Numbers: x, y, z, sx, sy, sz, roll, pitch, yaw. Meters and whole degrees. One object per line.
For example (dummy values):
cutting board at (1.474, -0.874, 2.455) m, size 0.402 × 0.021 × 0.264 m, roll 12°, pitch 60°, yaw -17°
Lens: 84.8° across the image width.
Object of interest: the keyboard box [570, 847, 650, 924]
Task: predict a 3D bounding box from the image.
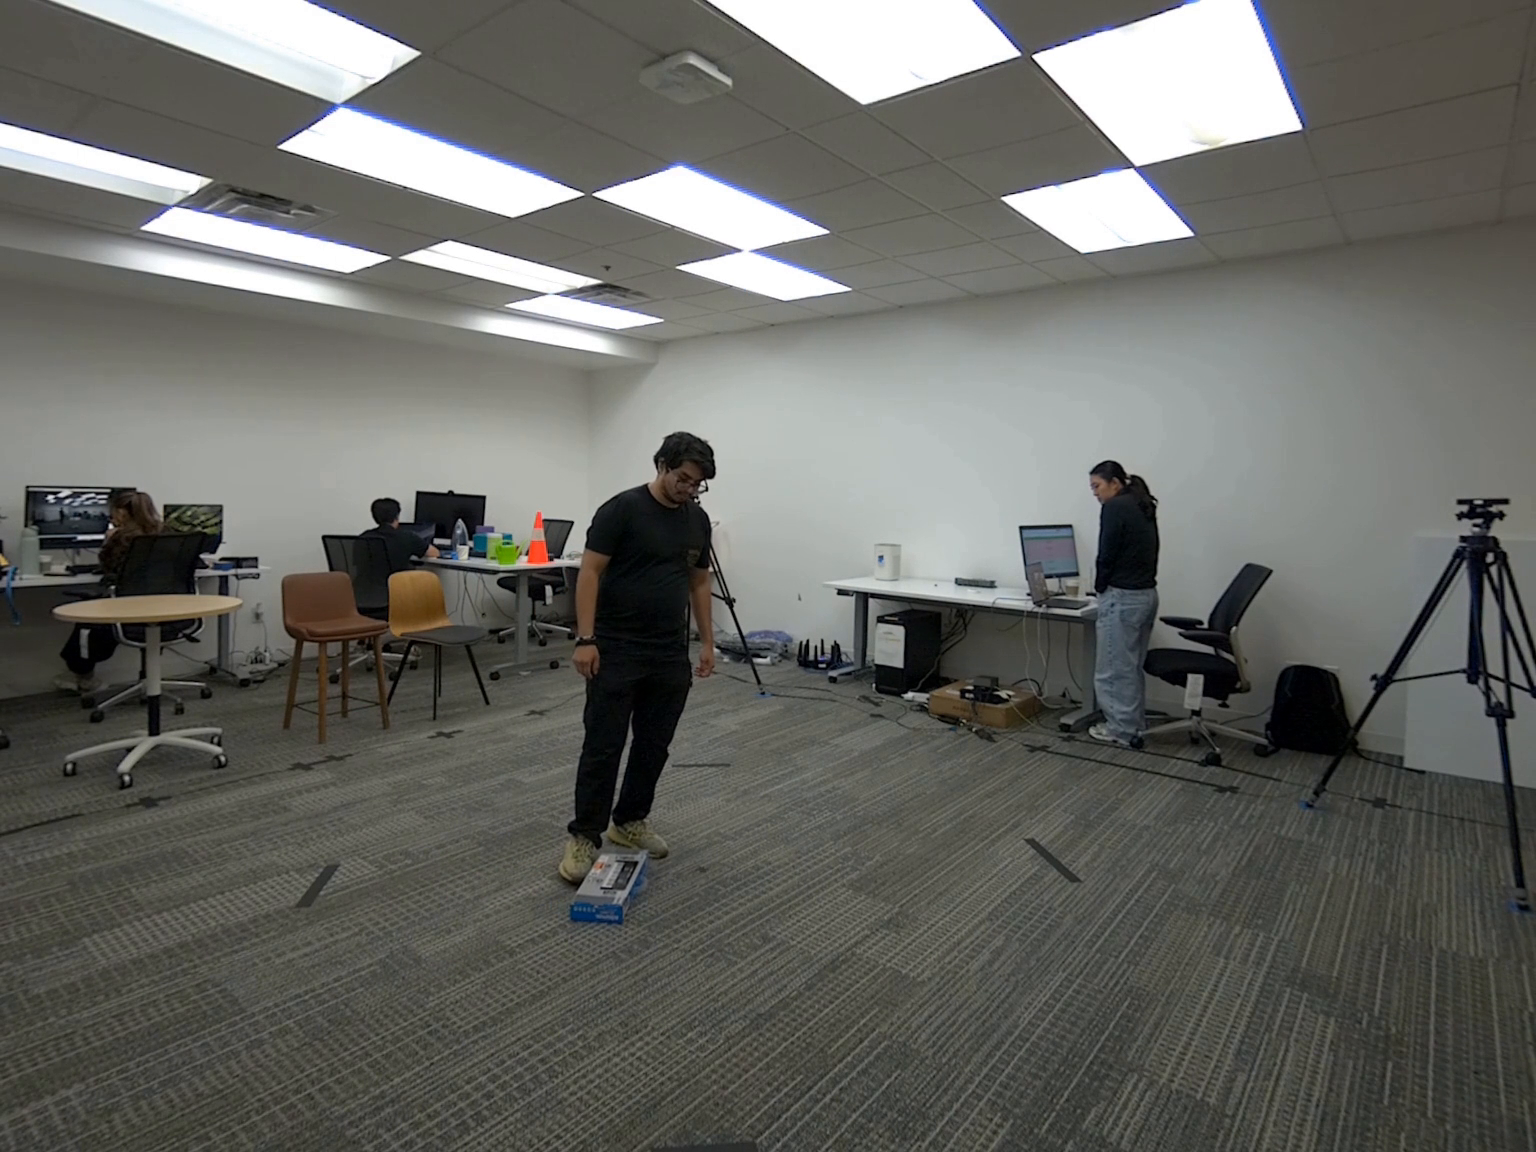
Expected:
keyboard box at (-0.553, 1.053, 2.928) m, size 0.177 × 0.059 × 0.436 m, roll 0°, pitch 5°, yaw 4°
